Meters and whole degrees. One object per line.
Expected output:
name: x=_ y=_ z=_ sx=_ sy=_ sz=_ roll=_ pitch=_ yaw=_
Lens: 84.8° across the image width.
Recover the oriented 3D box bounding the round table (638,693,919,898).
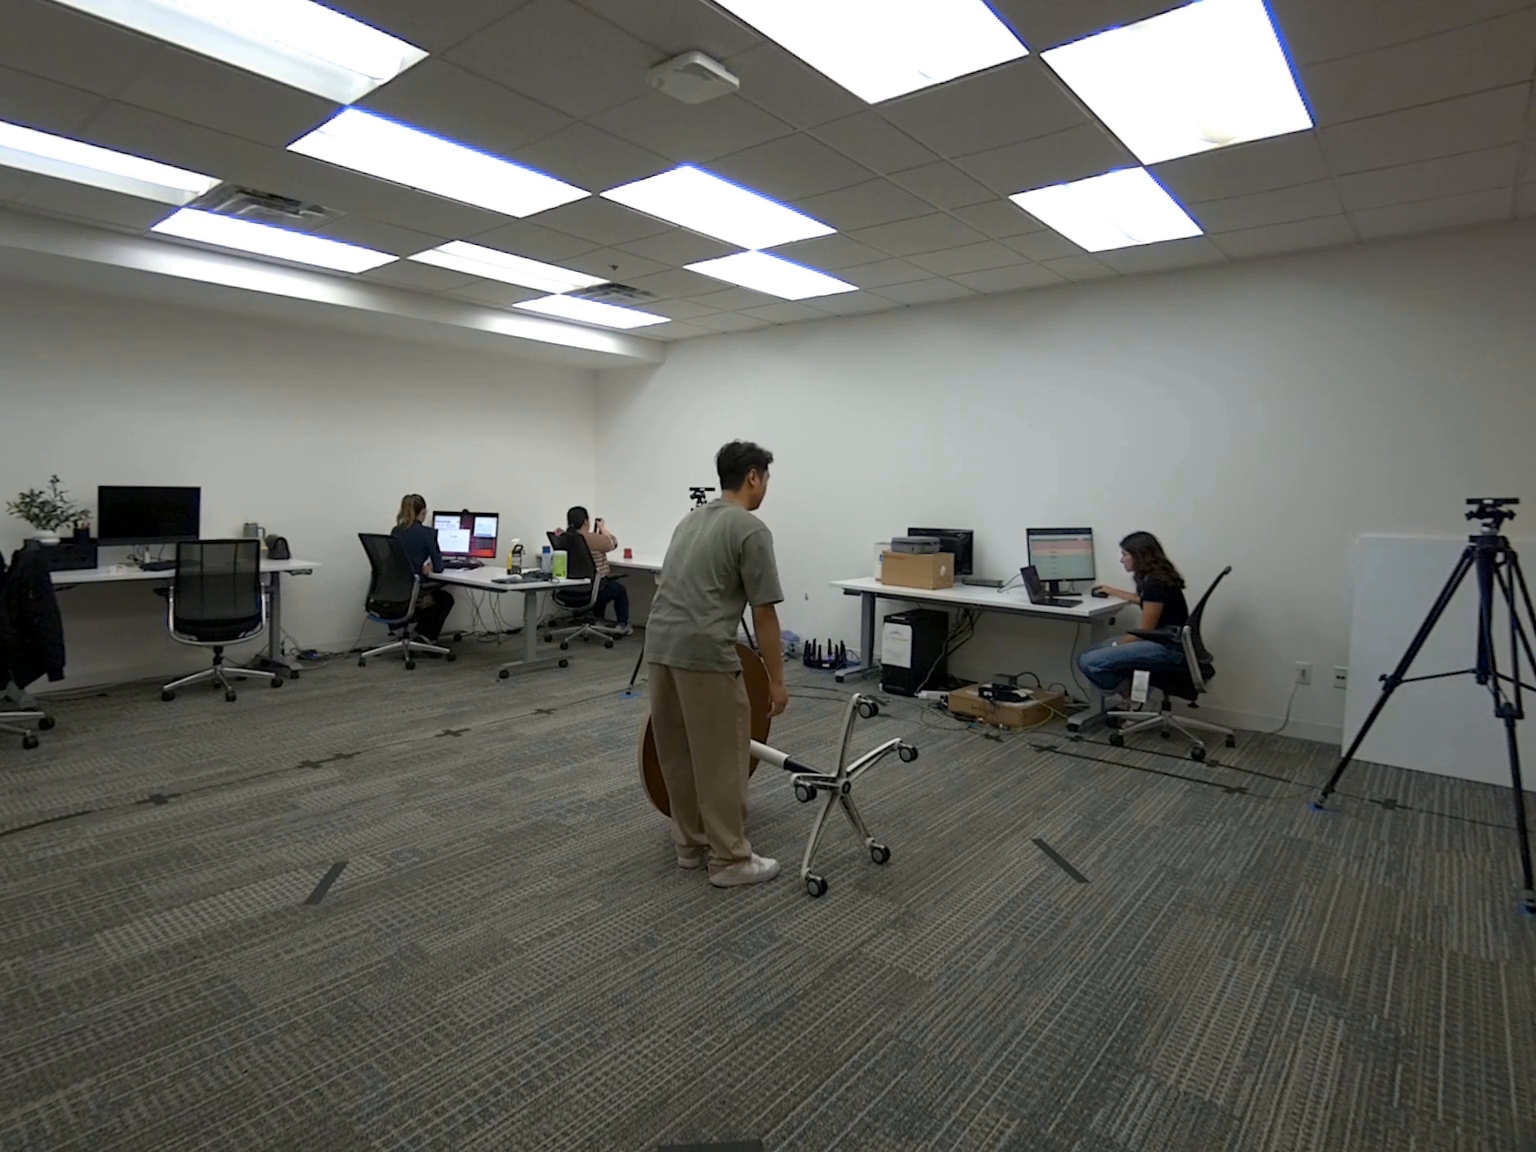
round table: x=0.045 y=0.708 z=3.291 sx=0.816 sy=0.780 sz=0.761 roll=13 pitch=11 yaw=41
